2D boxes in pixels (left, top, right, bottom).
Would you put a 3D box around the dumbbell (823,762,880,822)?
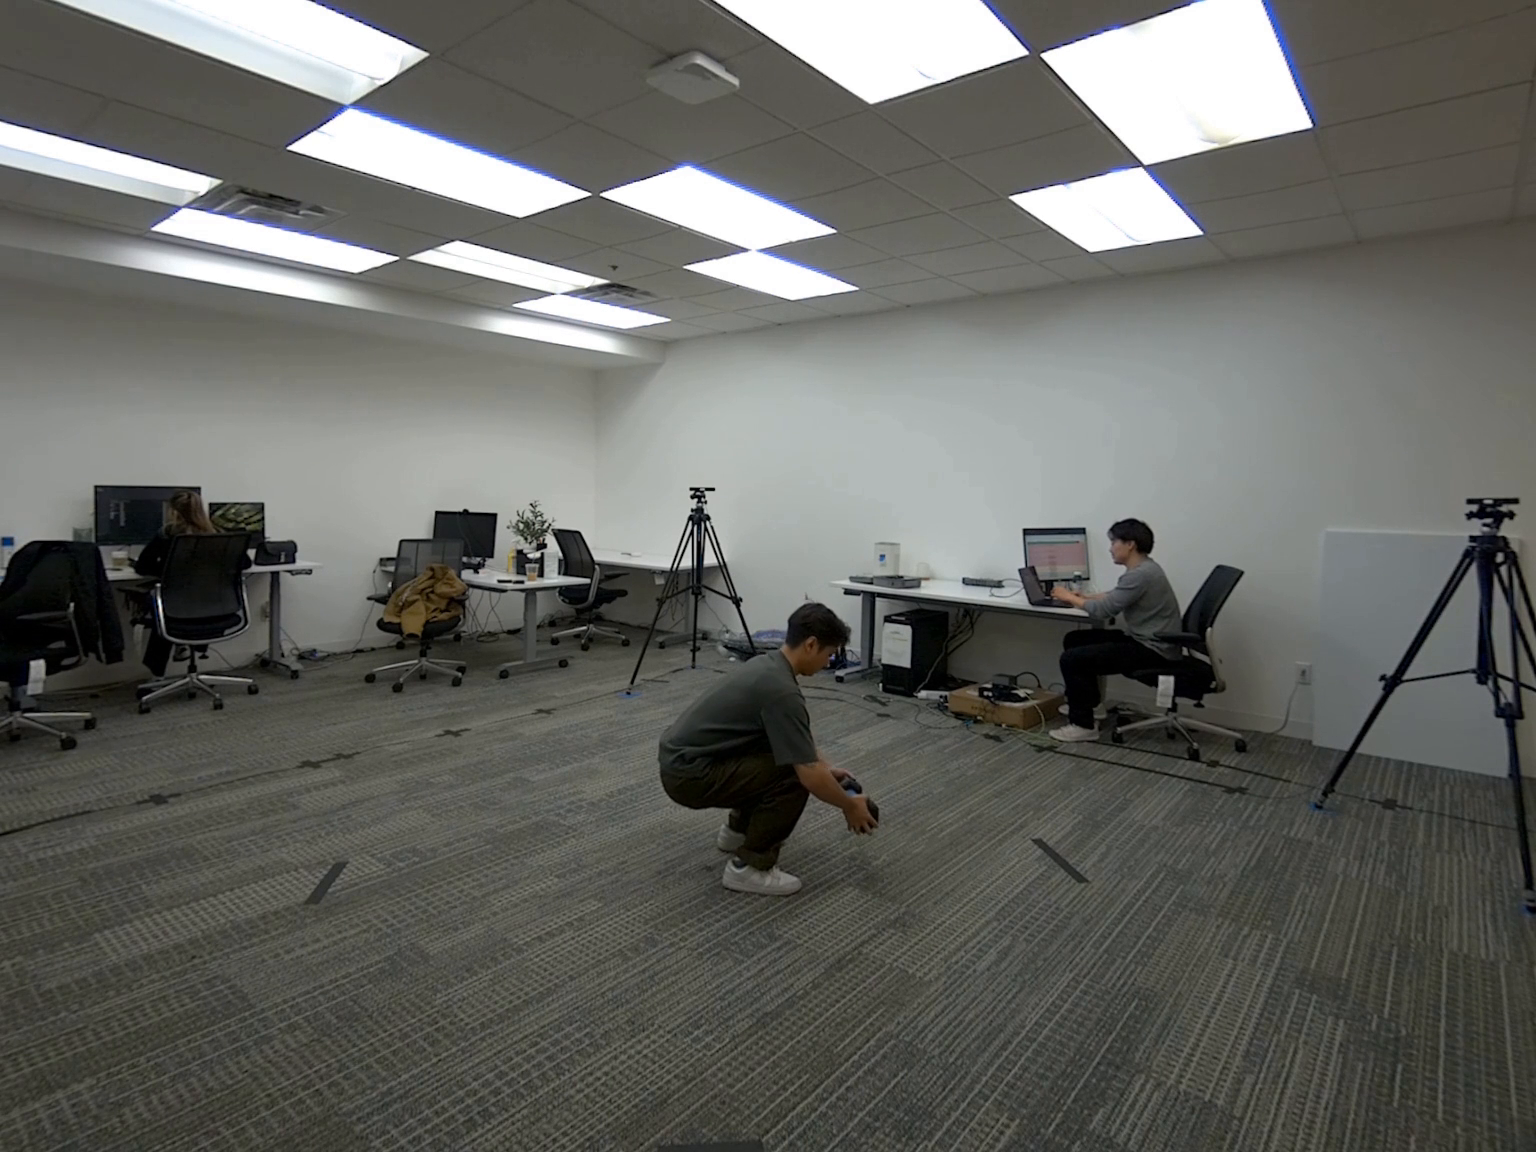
[{"bbox_3d":[0.303,0.846,3.149,0.121,0.109,0.297,28,-2,-11],"label":"dumbbell"}]
